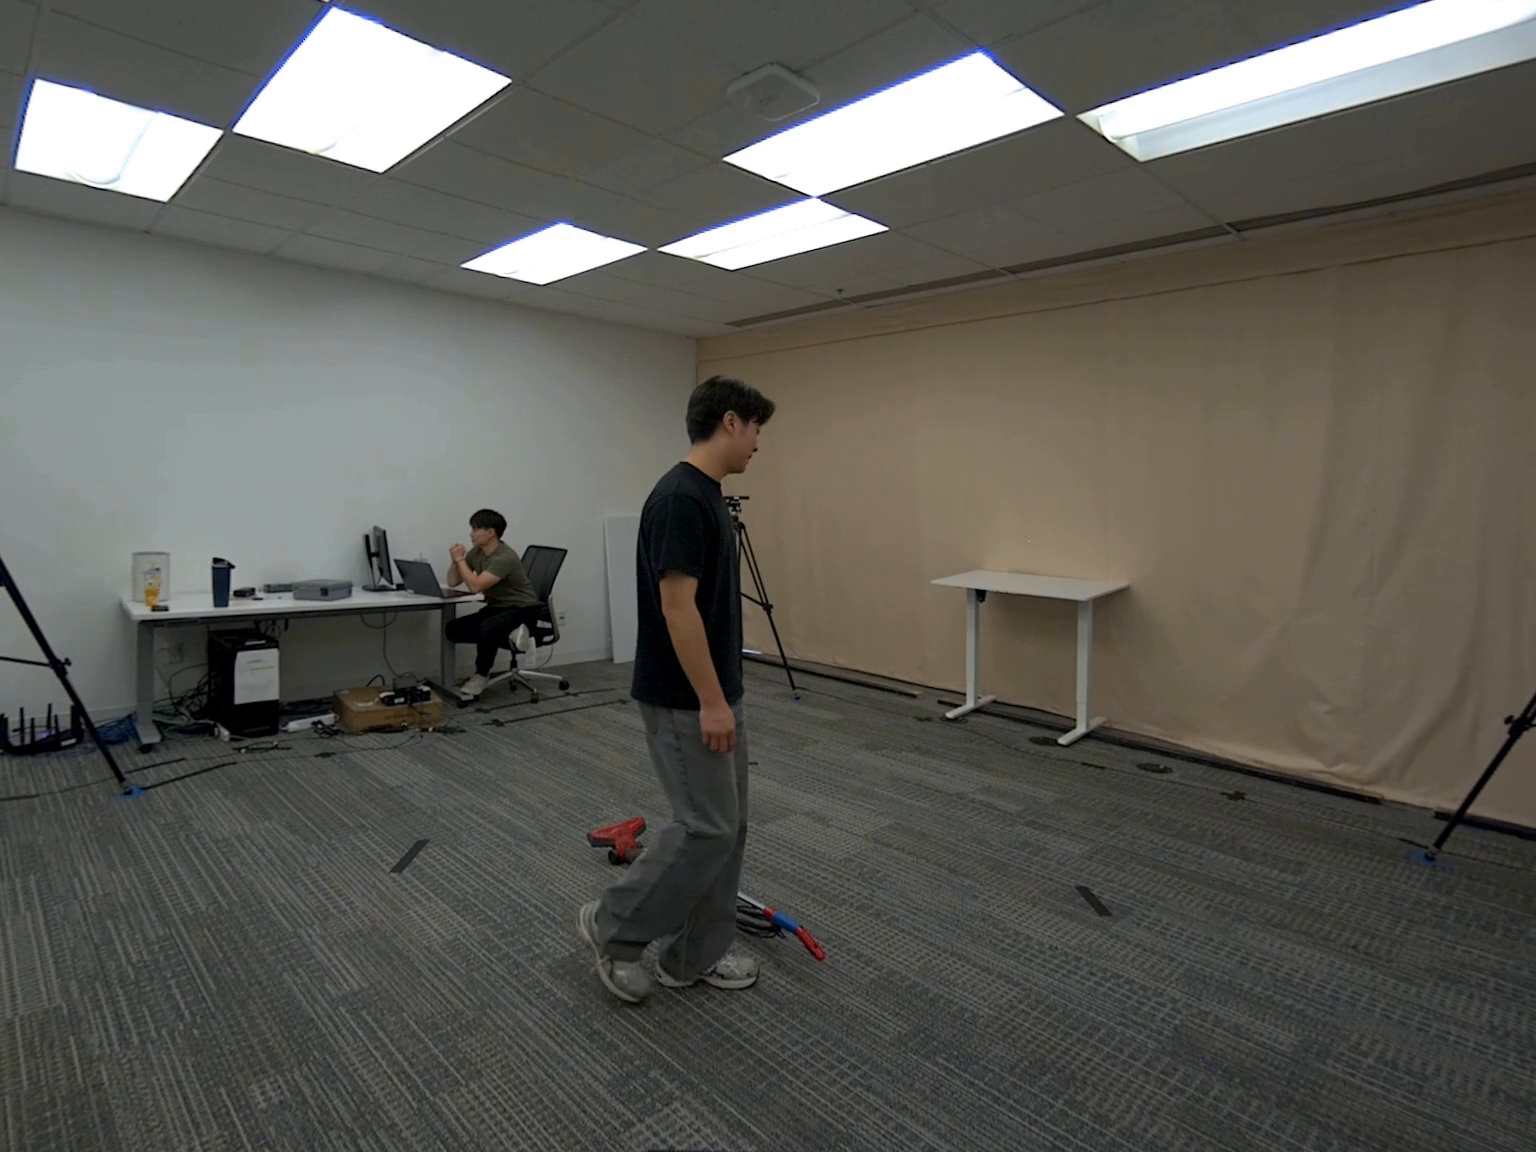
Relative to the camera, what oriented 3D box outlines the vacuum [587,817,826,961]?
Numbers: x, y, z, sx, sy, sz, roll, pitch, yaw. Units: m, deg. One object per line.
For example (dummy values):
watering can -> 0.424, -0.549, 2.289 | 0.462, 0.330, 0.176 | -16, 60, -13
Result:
vacuum -> -0.221, 1.072, 2.850 | 0.247, 0.143, 1.076 | -3, 7, -41
